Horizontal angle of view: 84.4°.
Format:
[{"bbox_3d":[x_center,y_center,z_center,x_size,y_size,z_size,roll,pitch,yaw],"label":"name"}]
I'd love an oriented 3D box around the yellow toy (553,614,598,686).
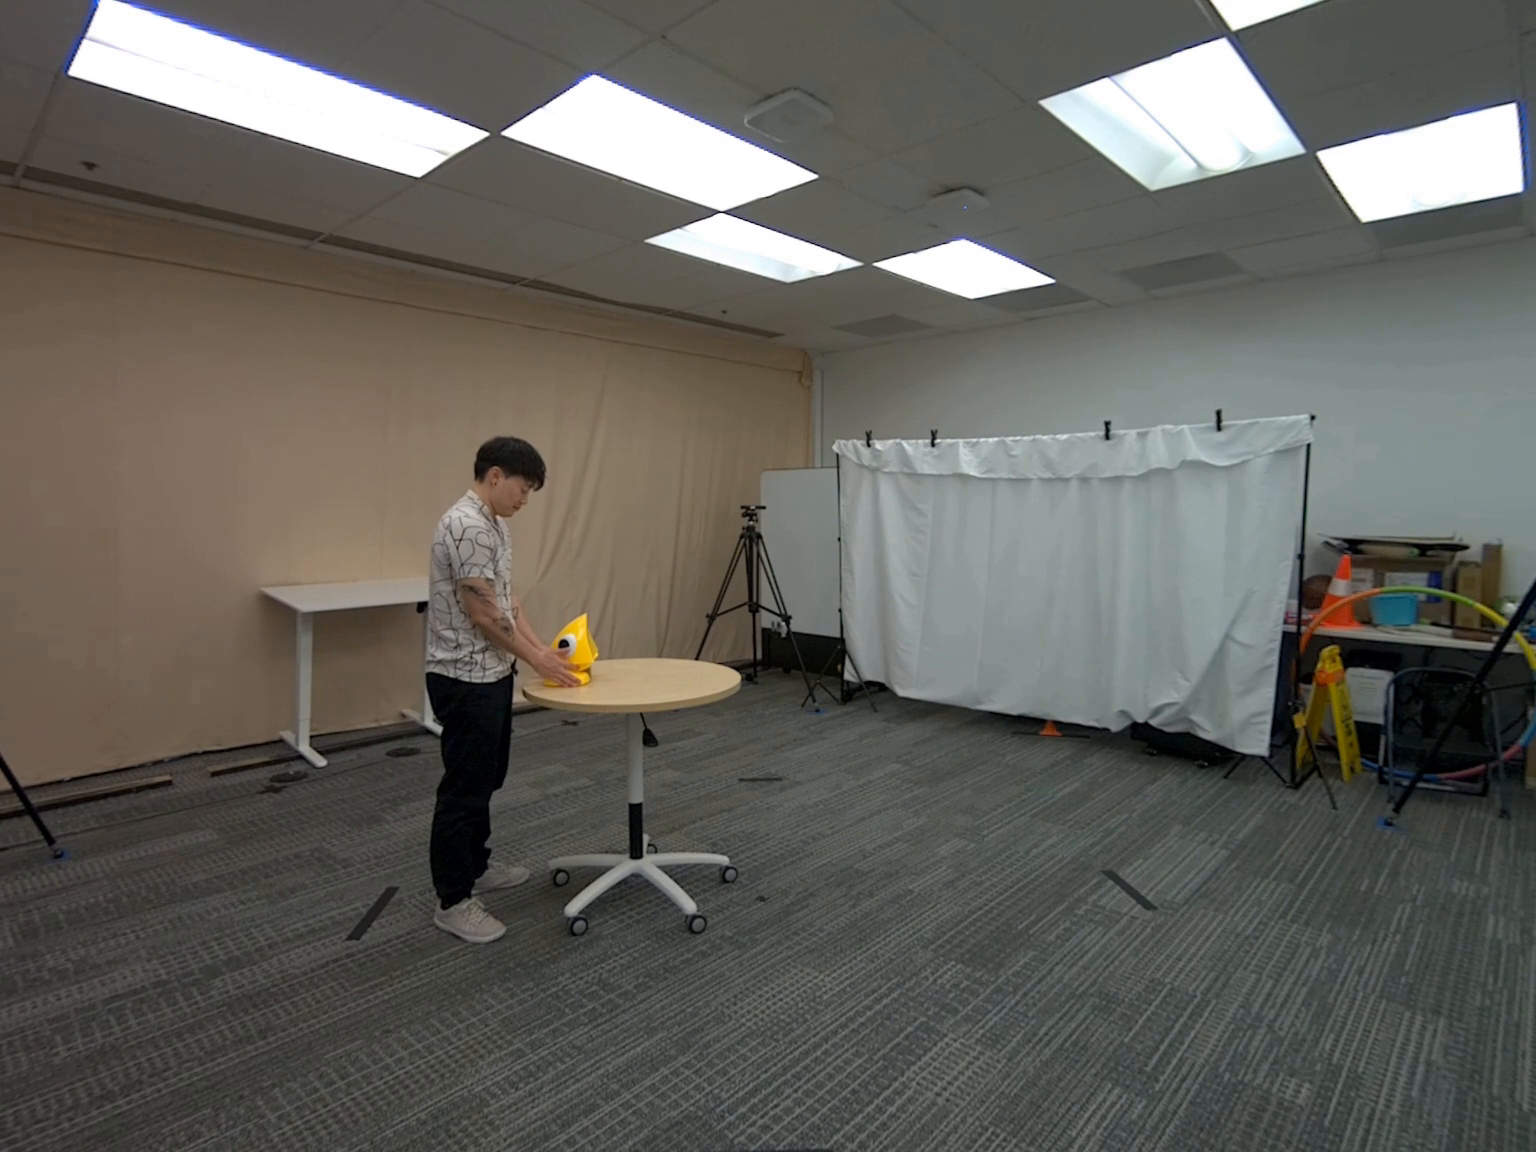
[{"bbox_3d":[-0.700,0.251,2.946,0.191,0.230,0.207,-2,5,-8],"label":"yellow toy"}]
